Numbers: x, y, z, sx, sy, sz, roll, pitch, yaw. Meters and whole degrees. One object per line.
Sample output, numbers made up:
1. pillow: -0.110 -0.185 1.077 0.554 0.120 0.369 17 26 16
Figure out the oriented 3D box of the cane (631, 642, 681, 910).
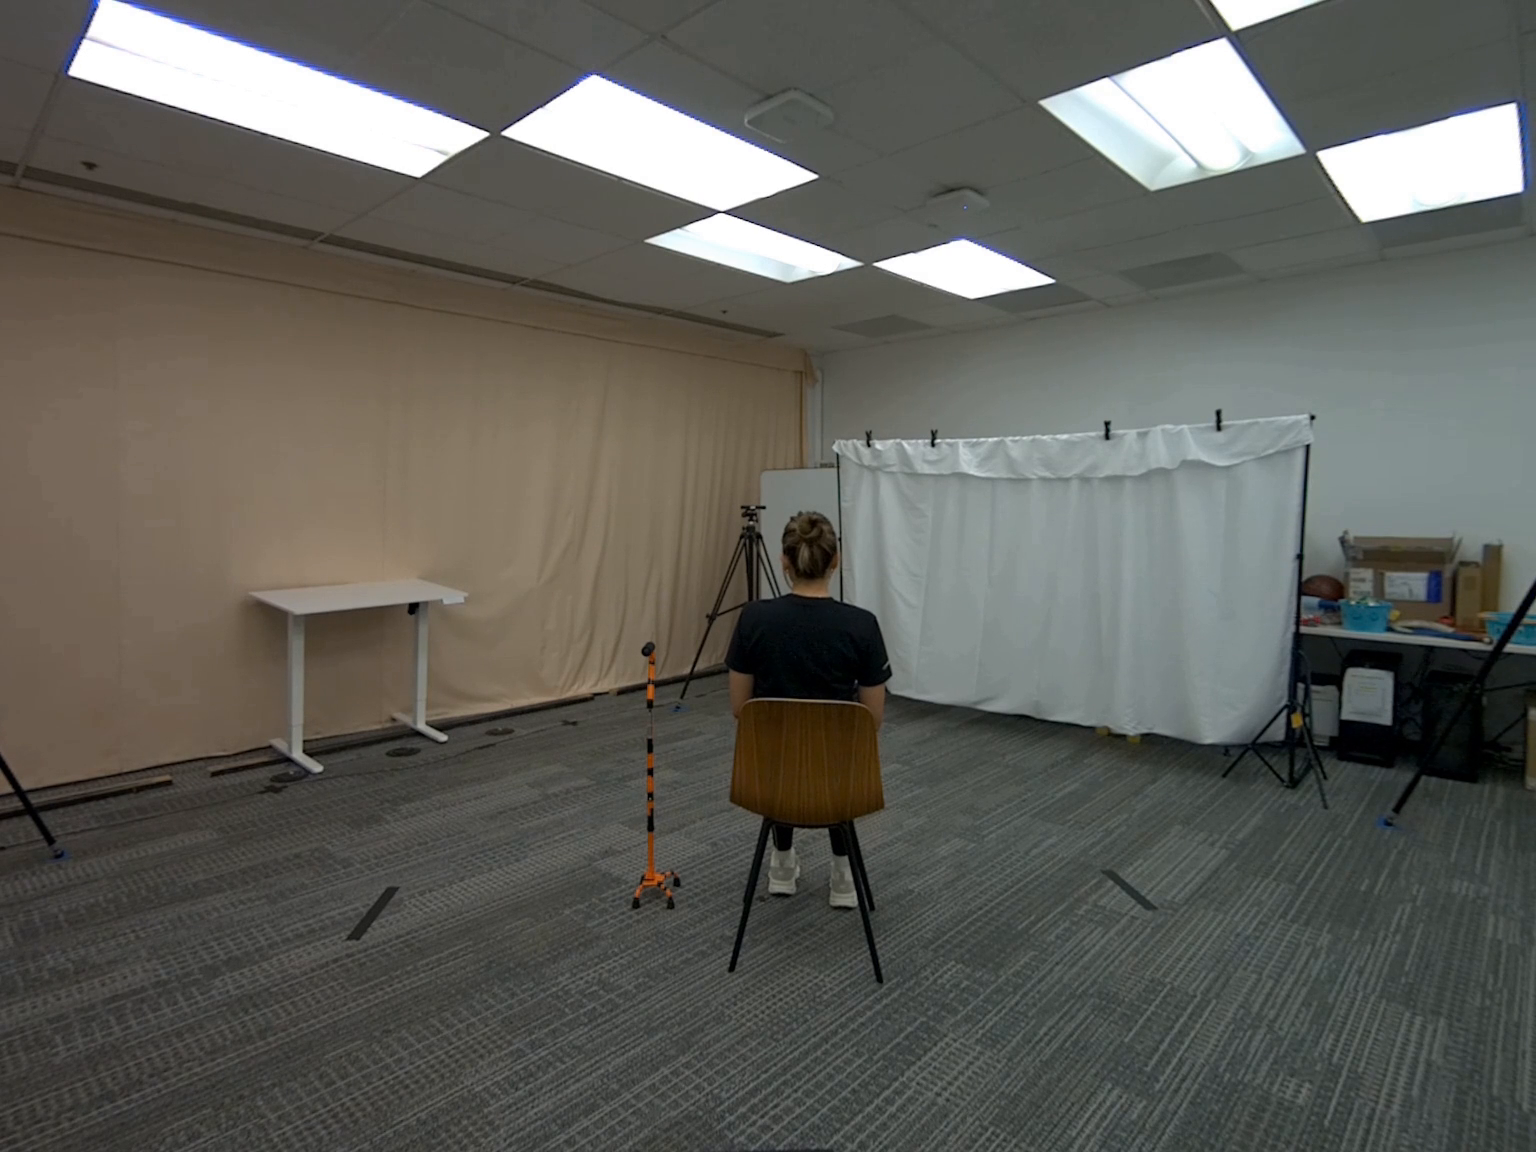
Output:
1. cane: -0.402 0.693 2.992 0.152 0.907 0.206 1 2 0
